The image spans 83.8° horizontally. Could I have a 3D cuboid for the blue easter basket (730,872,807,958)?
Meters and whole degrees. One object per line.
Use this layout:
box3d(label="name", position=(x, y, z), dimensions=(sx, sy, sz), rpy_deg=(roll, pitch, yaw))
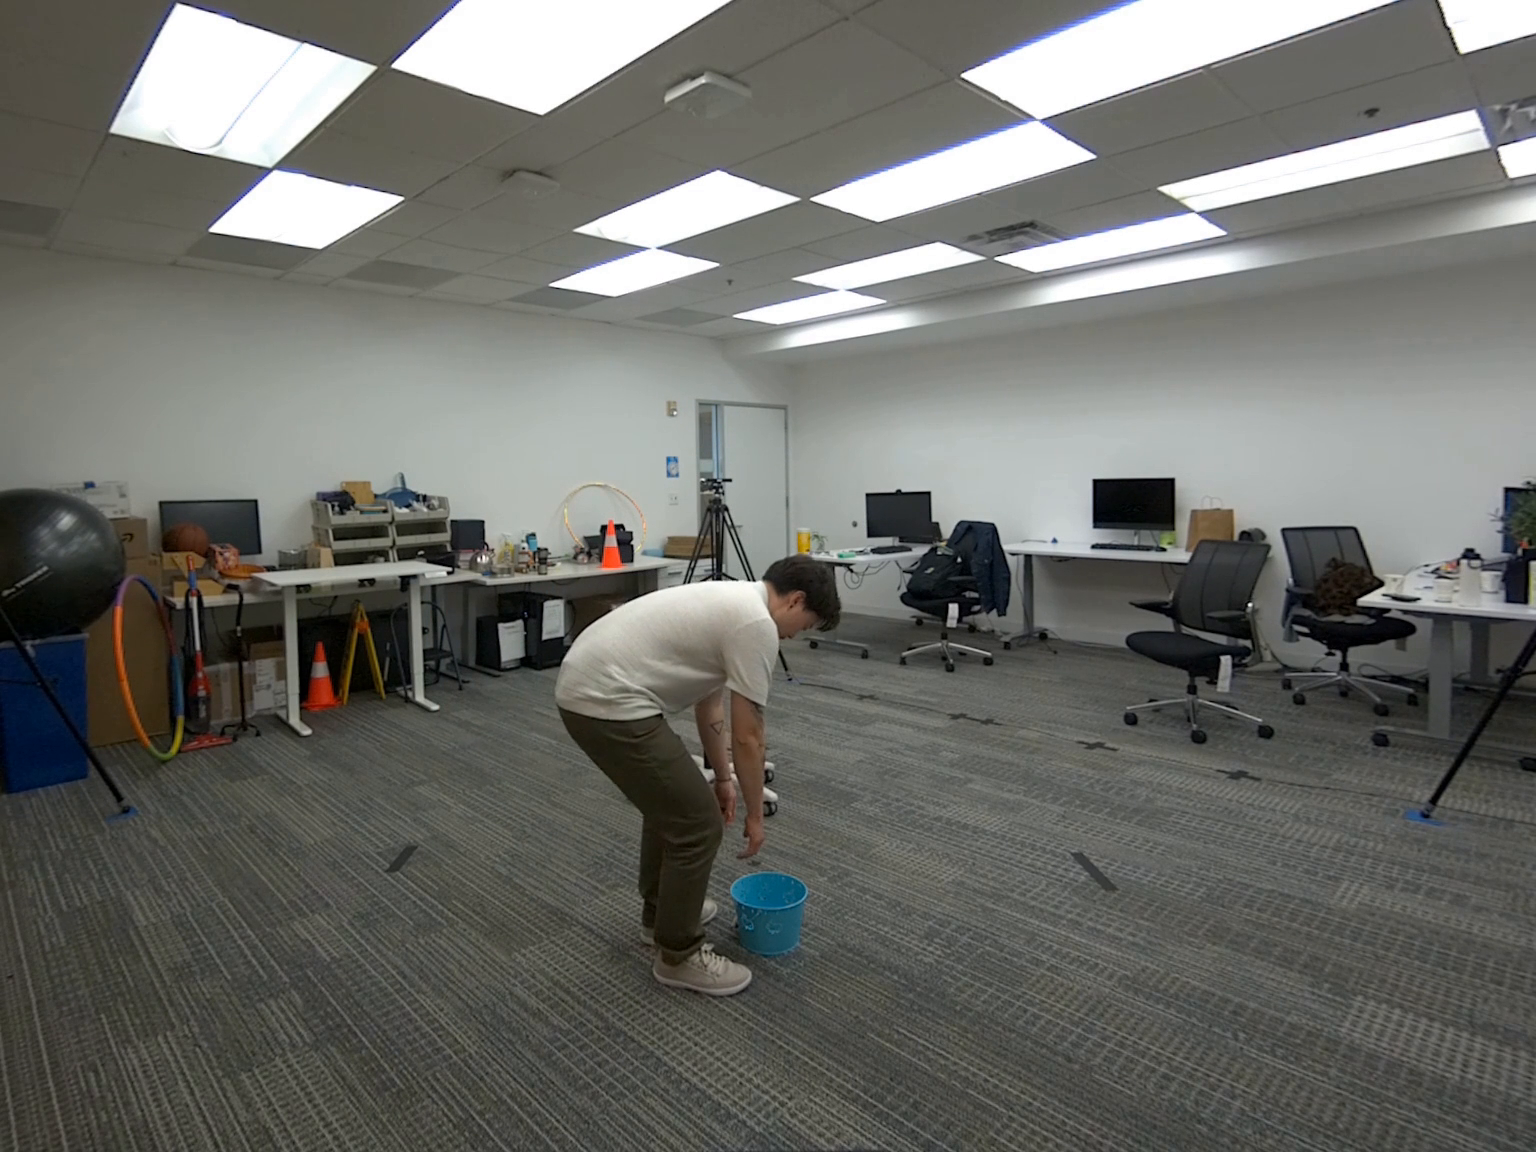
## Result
box3d(label="blue easter basket", position=(0.010, 1.025, 2.598), dimensions=(0.243, 0.155, 0.245), rpy_deg=(0, 6, -2))
